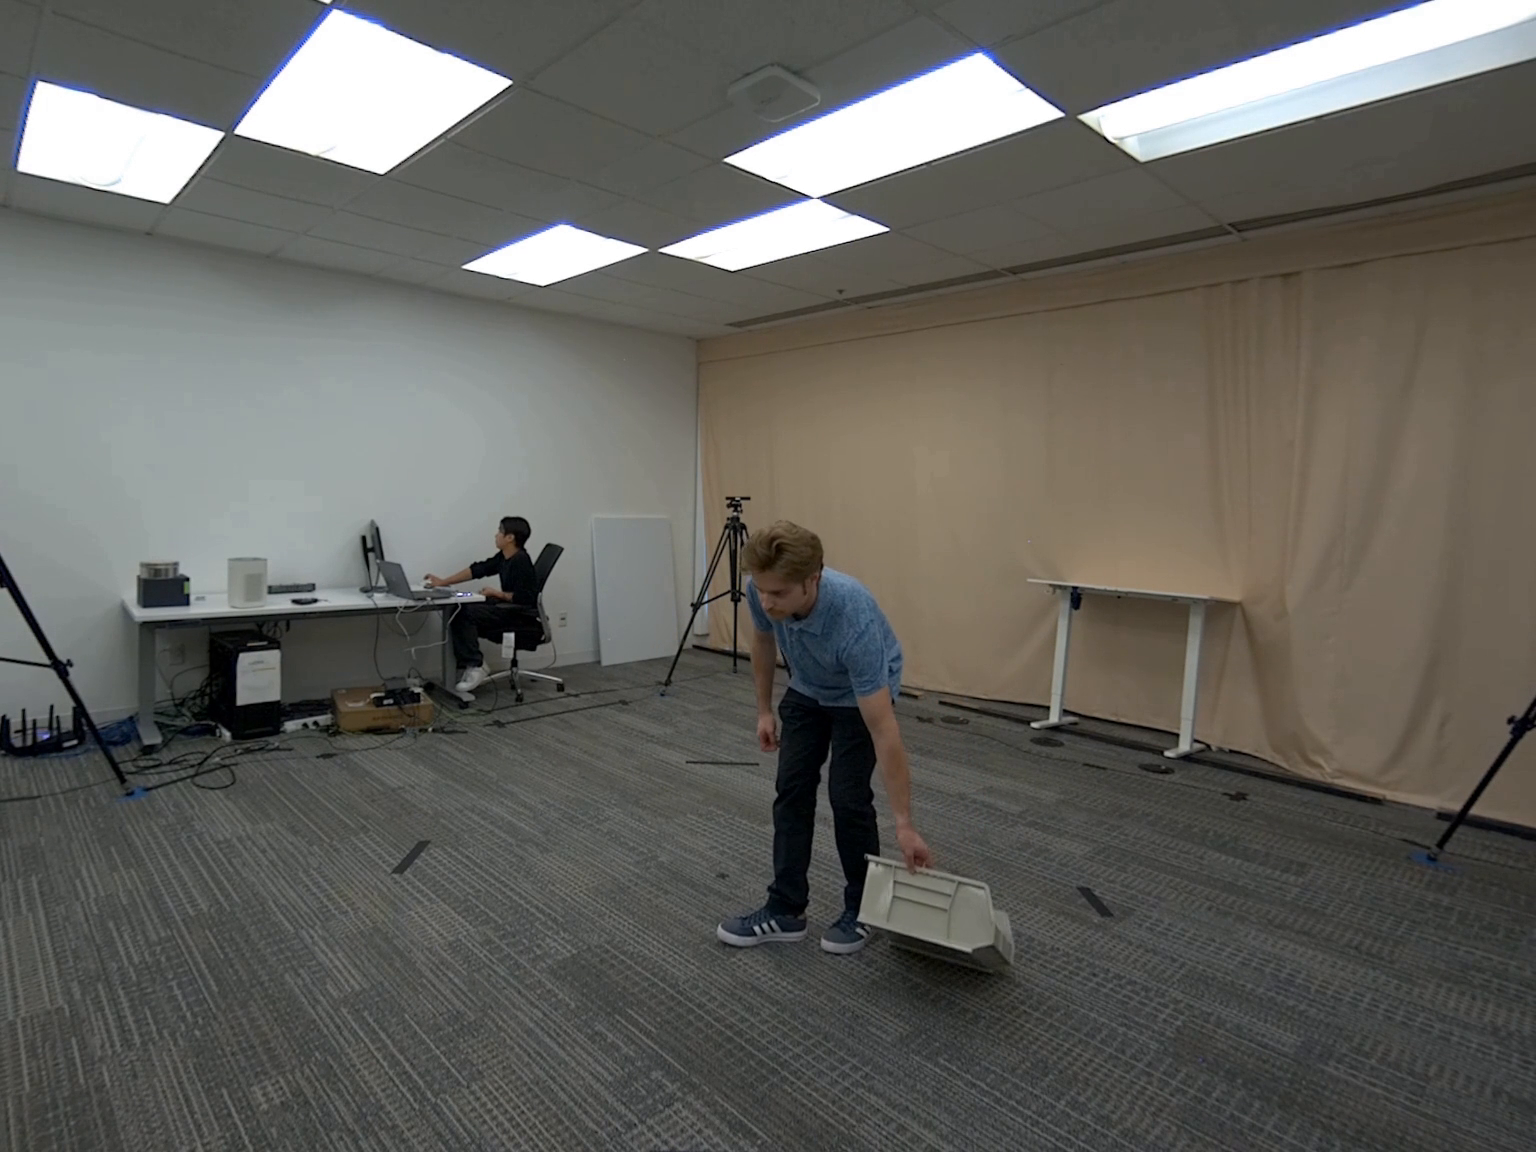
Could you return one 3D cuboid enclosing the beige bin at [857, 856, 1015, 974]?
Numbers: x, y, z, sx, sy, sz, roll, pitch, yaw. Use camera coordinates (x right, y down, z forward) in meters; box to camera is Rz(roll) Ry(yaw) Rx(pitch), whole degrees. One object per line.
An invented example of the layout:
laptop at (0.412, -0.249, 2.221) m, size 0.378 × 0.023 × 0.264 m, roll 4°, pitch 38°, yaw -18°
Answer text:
beige bin at (0.493, 0.995, 2.443) m, size 0.385 × 0.191 × 0.409 m, roll 4°, pitch -27°, yaw 26°
